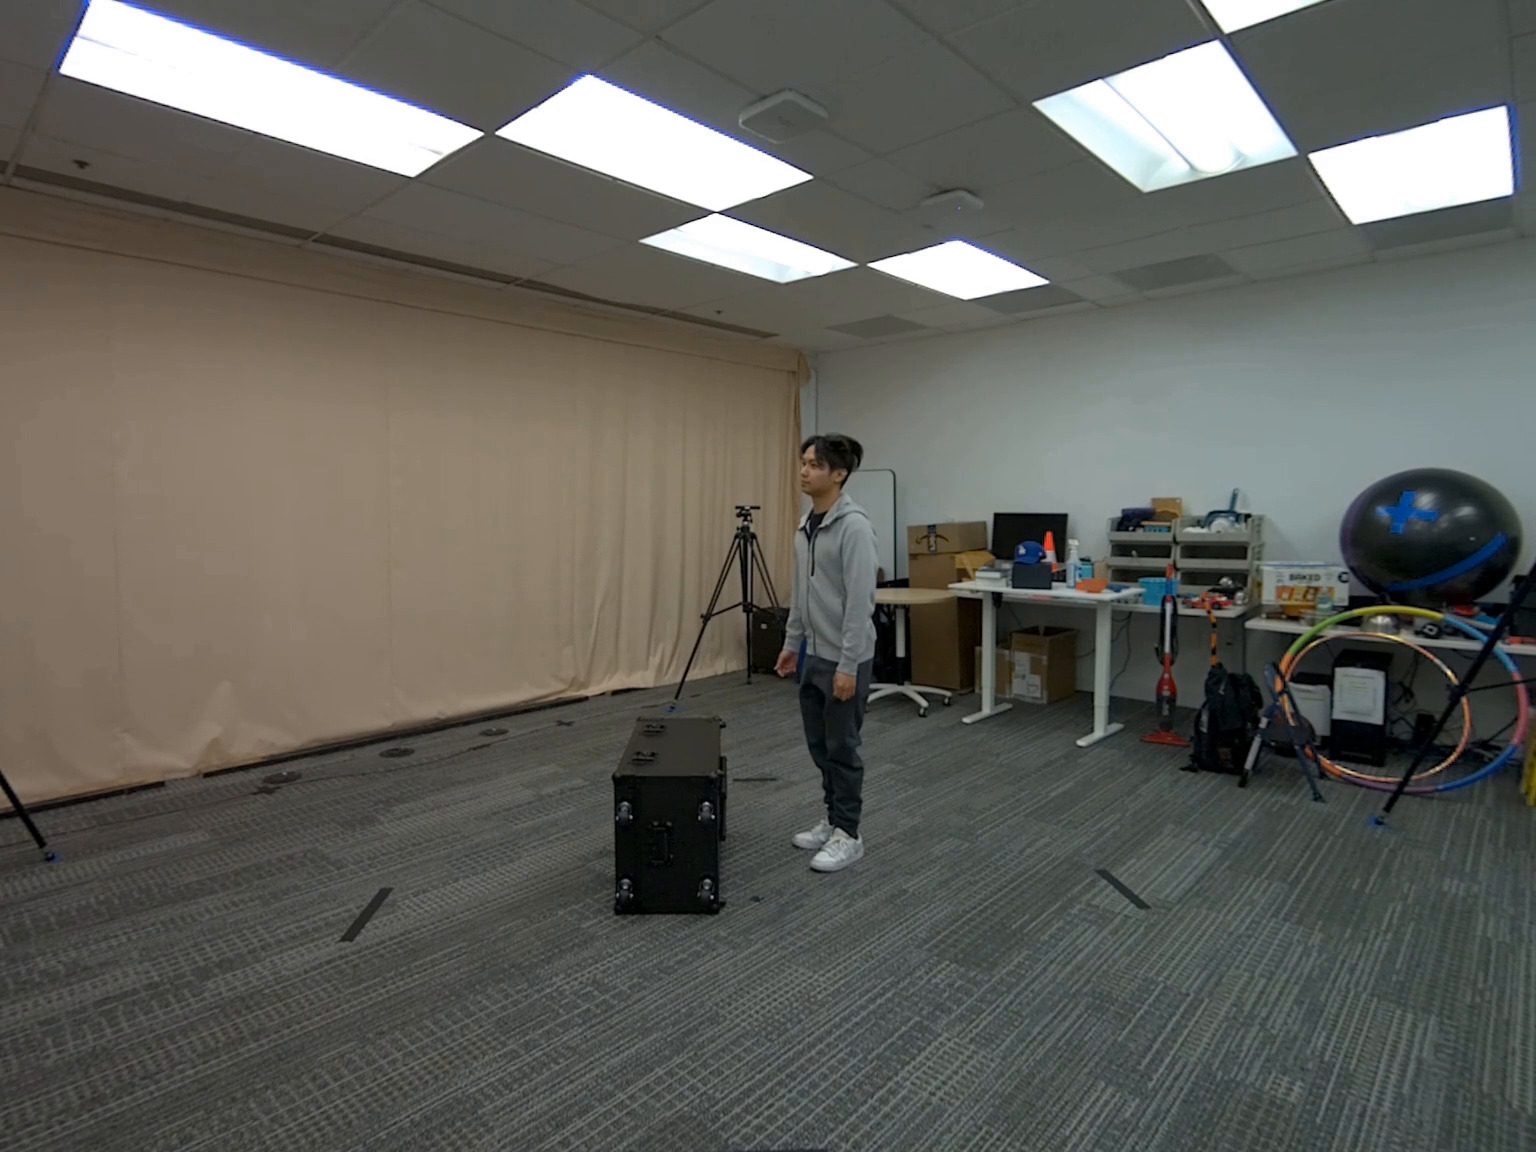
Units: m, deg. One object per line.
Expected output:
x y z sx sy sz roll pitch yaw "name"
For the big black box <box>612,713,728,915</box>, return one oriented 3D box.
-0.348 0.883 3.210 0.396 0.520 0.863 0 4 -1 "big black box"
